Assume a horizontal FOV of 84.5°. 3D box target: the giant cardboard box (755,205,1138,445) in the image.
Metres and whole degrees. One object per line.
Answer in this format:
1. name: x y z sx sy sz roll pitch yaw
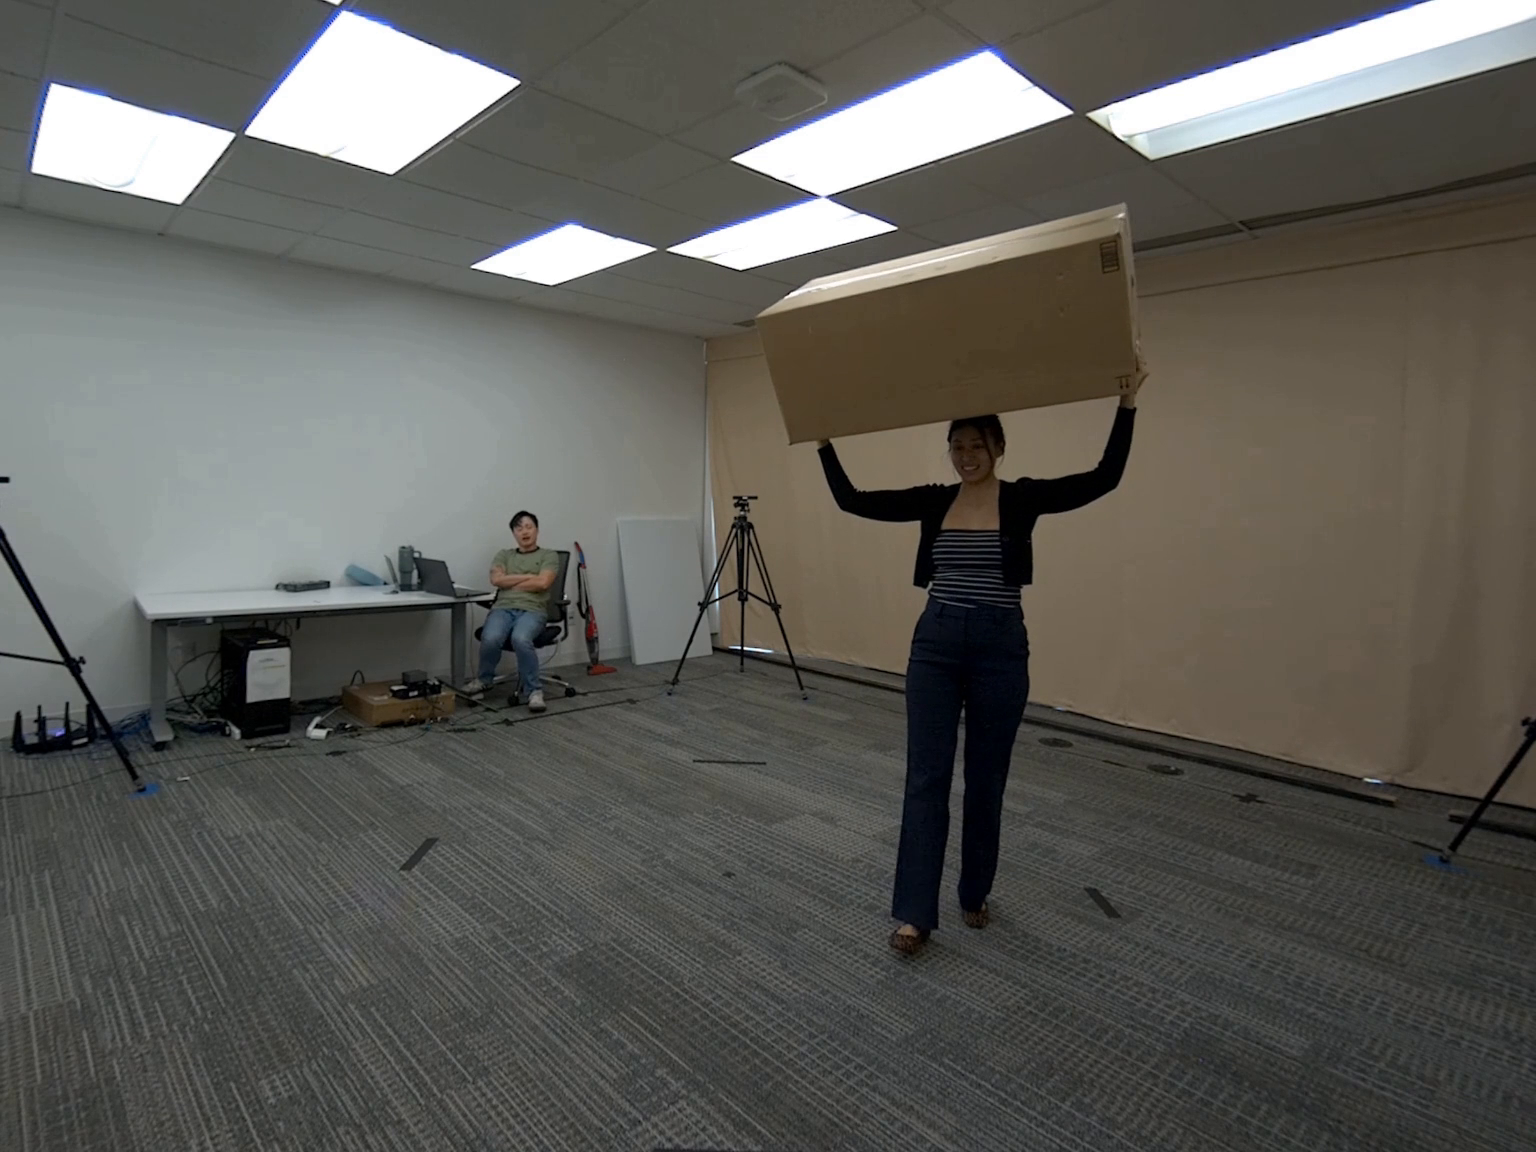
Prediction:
1. giant cardboard box: 0.565 -0.765 2.633 1.045 0.418 0.578 -4 26 28
